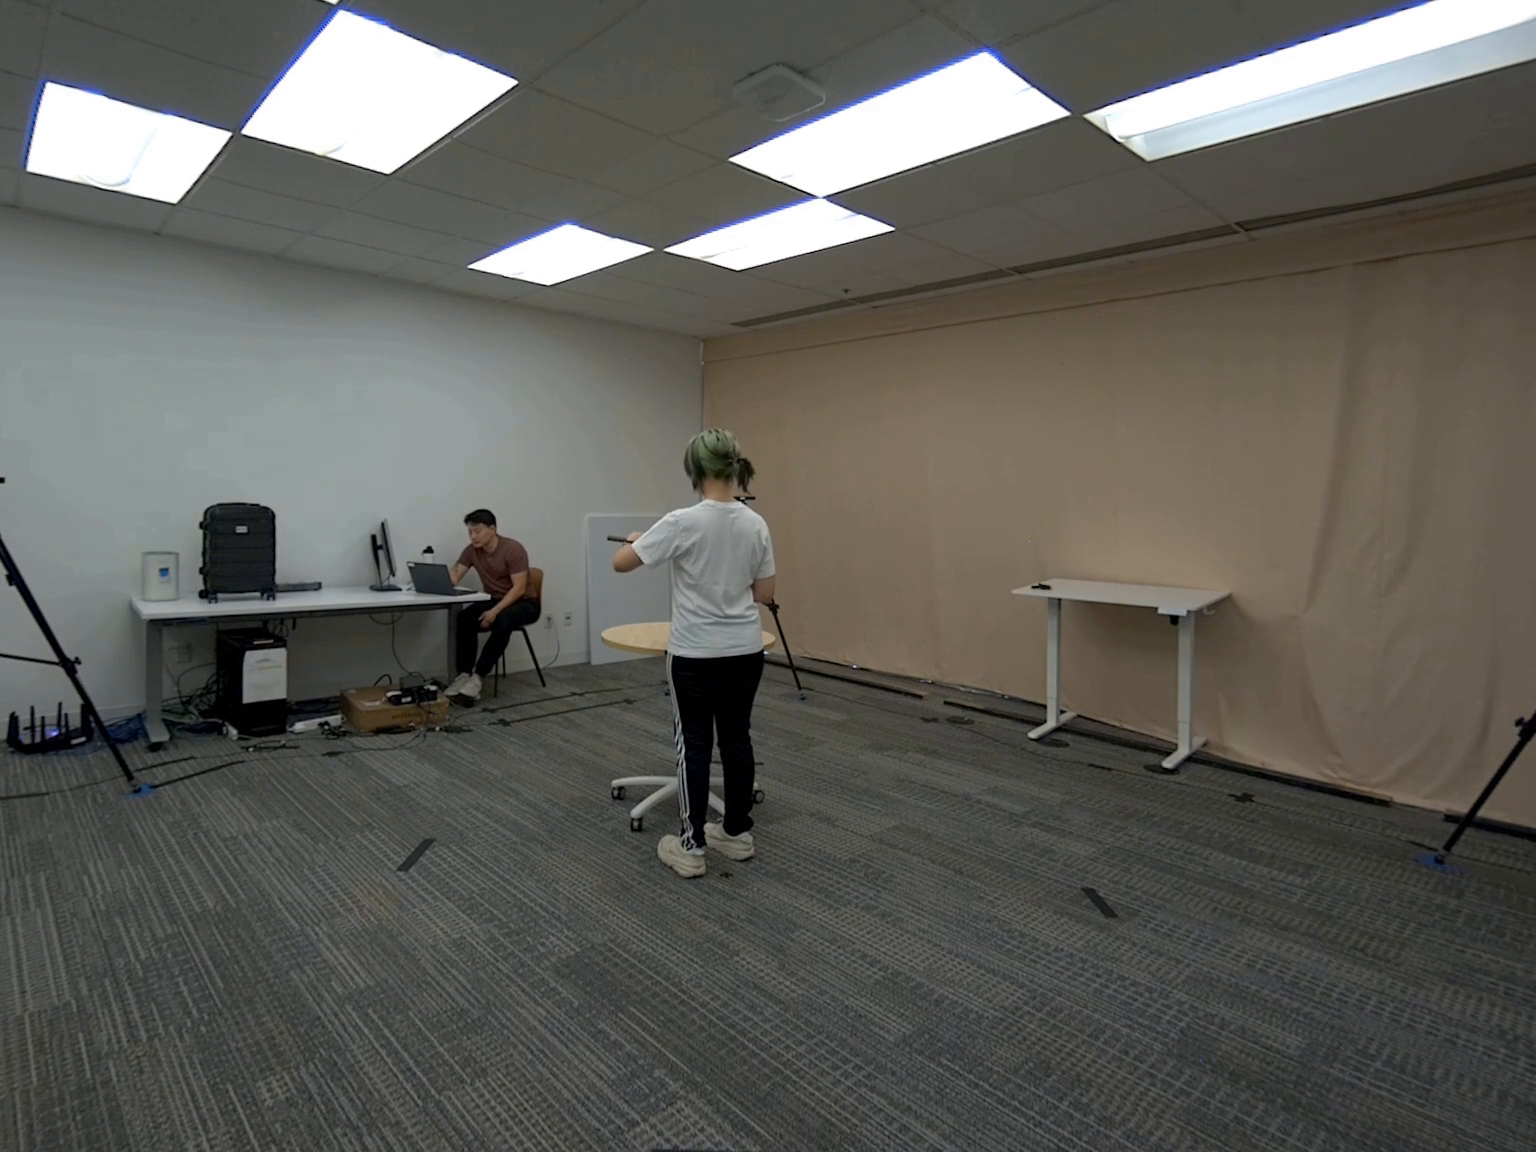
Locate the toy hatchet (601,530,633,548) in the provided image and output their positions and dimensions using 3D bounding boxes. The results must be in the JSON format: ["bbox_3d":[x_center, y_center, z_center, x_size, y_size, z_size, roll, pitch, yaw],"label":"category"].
[{"bbox_3d":[-0.533,-0.140,3.408,0.268,0.029,0.133,7,14,-6],"label":"toy hatchet"}]
